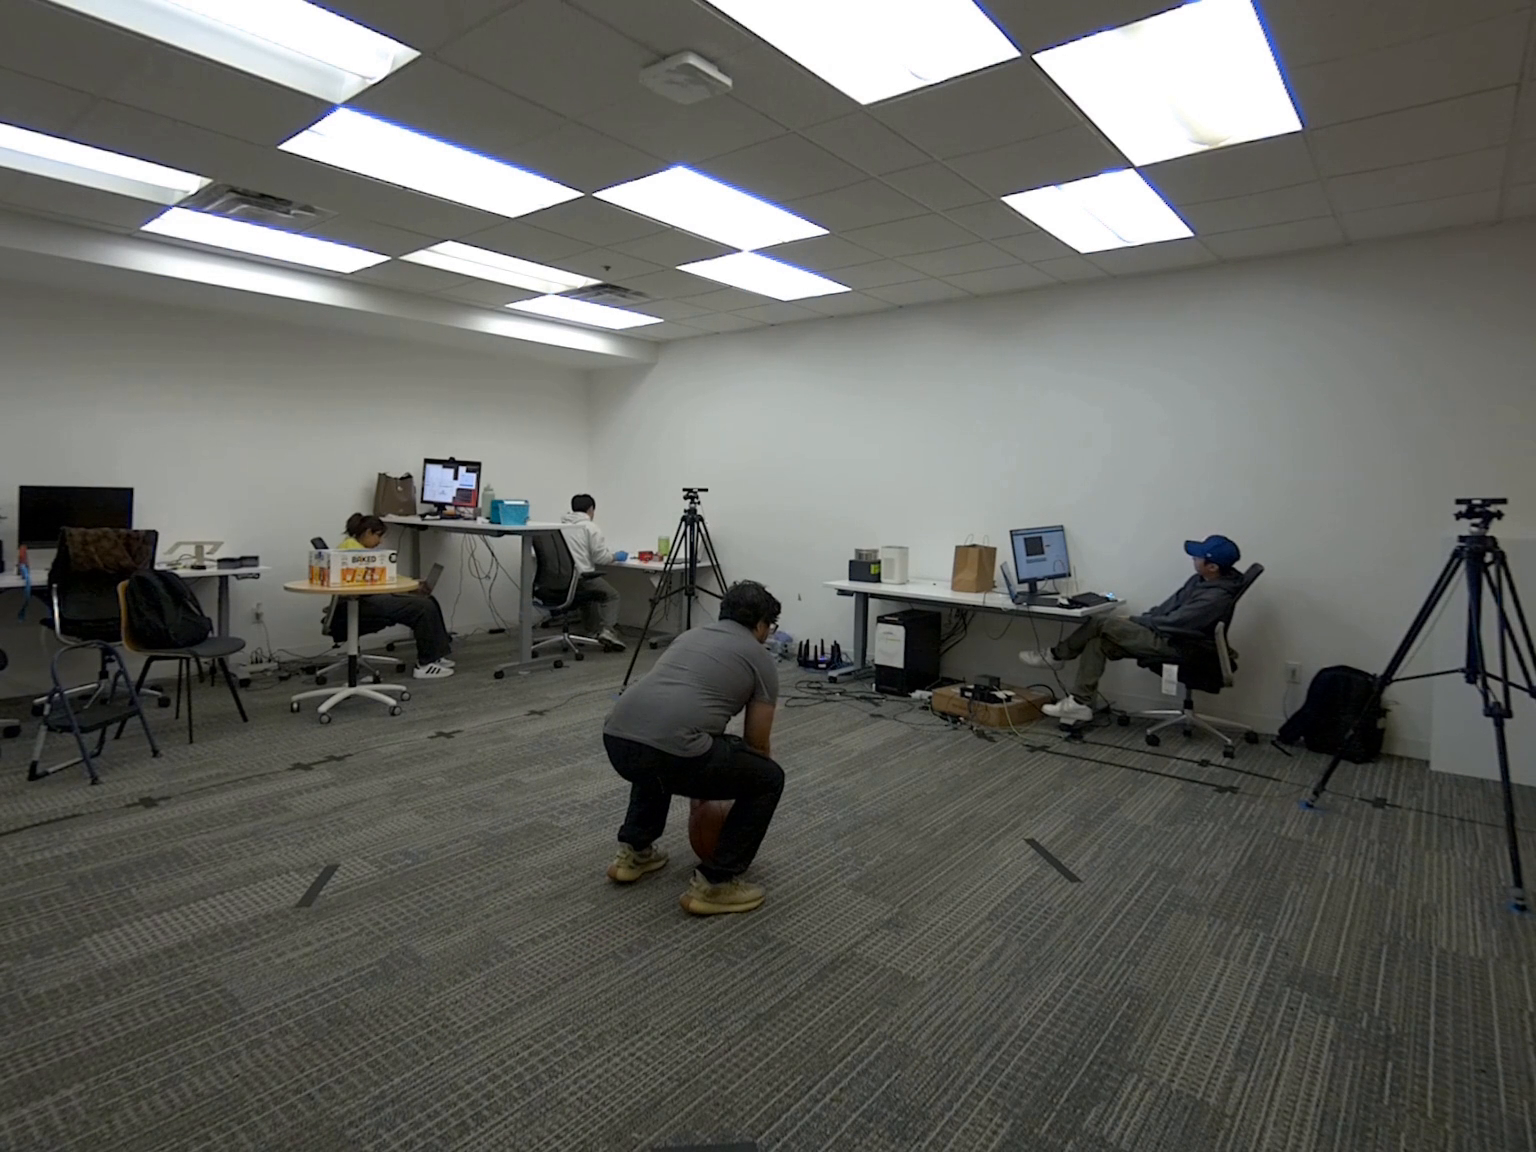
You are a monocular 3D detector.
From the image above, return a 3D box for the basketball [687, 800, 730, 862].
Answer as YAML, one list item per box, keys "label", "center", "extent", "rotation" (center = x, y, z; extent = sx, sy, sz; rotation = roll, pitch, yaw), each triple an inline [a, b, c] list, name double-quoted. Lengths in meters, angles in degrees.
- label: "basketball"
  center: [-0.180, 0.941, 3.151]
  extent: [0.235, 0.235, 0.237]
  rotation: [1, 4, -2]
